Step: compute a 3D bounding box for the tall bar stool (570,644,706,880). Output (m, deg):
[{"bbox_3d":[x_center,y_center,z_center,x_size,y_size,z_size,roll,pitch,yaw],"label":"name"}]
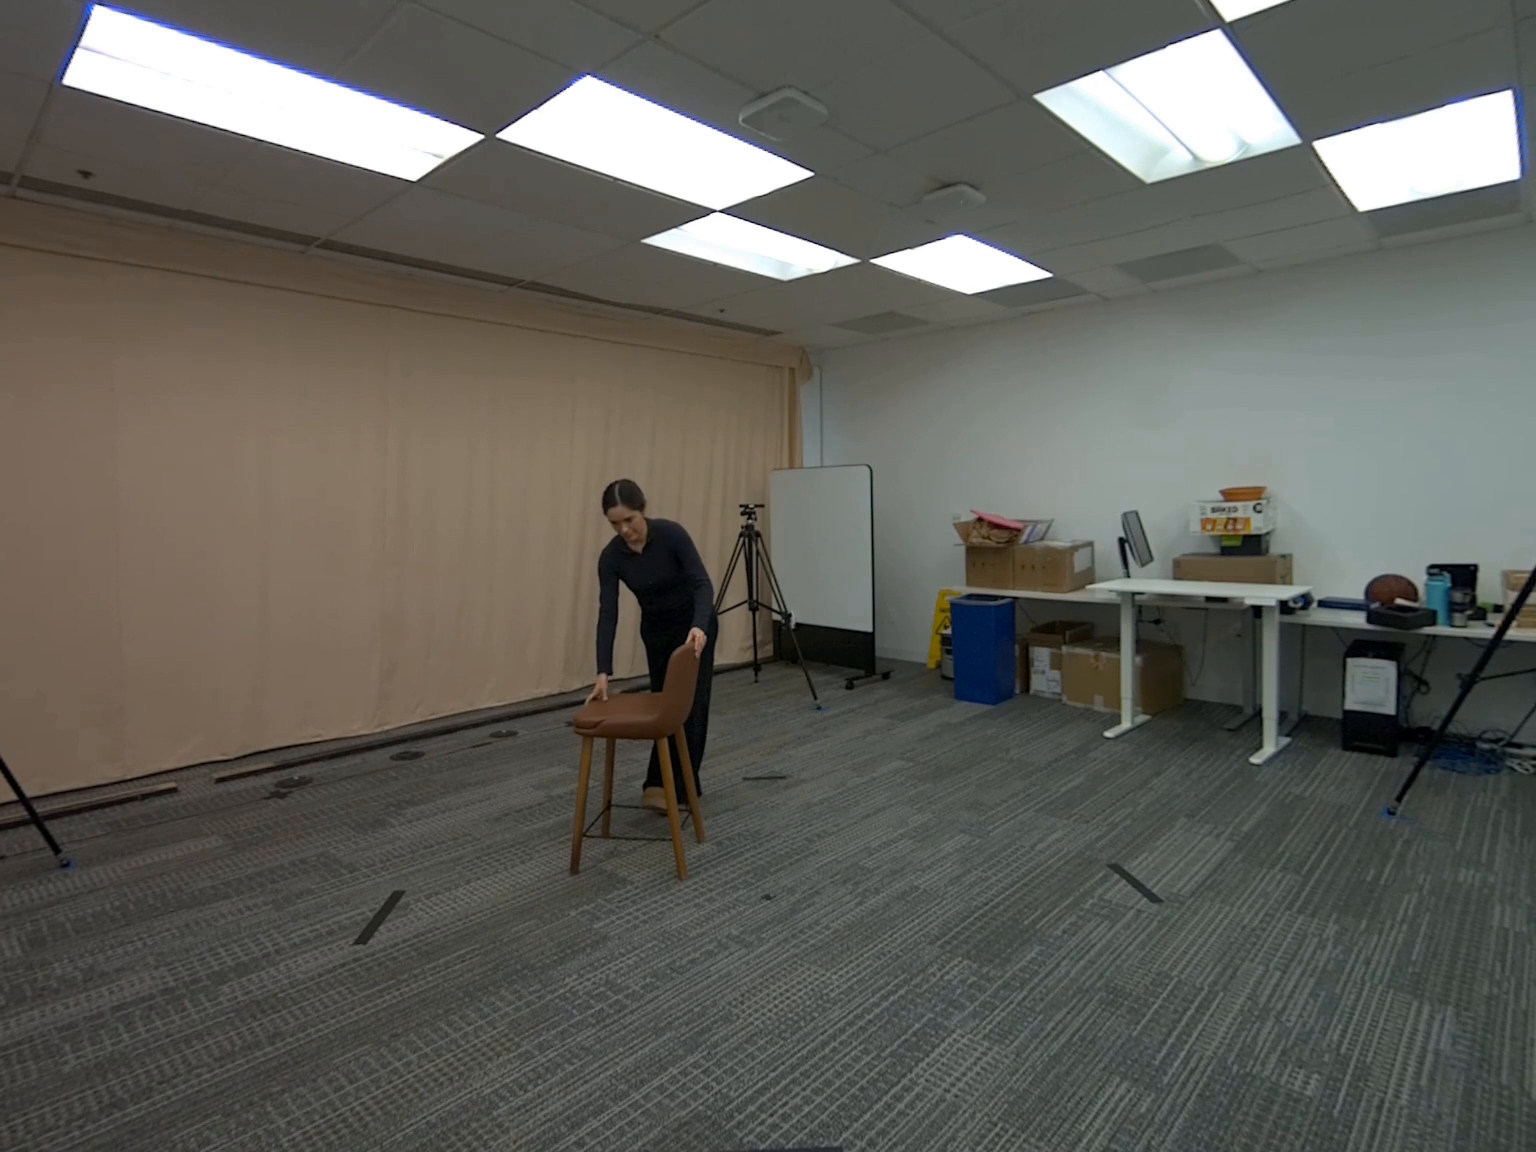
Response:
[{"bbox_3d":[-0.505,0.683,3.339,0.473,0.888,0.452,1,3,9],"label":"tall bar stool"}]
